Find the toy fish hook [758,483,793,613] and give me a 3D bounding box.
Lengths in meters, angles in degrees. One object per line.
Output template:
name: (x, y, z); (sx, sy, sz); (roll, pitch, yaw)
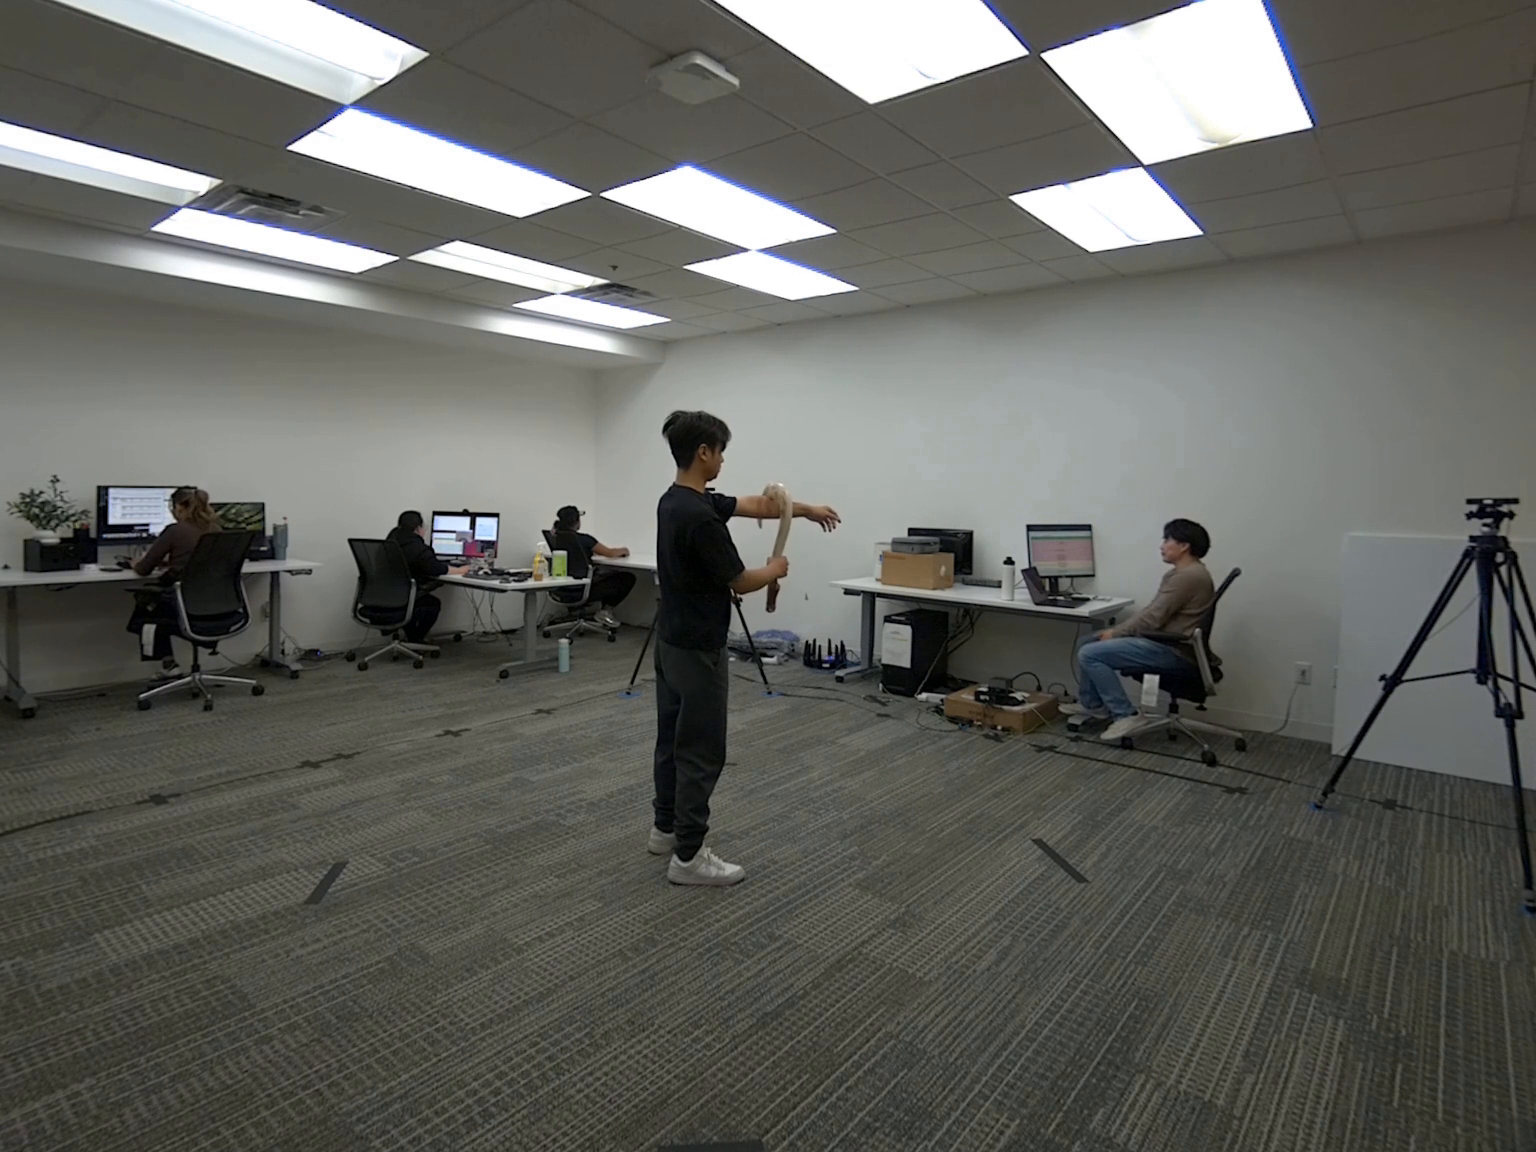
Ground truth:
toy fish hook: (-0.003, -0.115, 3.354); (0.047, 0.503, 0.232); (4, 10, -28)
